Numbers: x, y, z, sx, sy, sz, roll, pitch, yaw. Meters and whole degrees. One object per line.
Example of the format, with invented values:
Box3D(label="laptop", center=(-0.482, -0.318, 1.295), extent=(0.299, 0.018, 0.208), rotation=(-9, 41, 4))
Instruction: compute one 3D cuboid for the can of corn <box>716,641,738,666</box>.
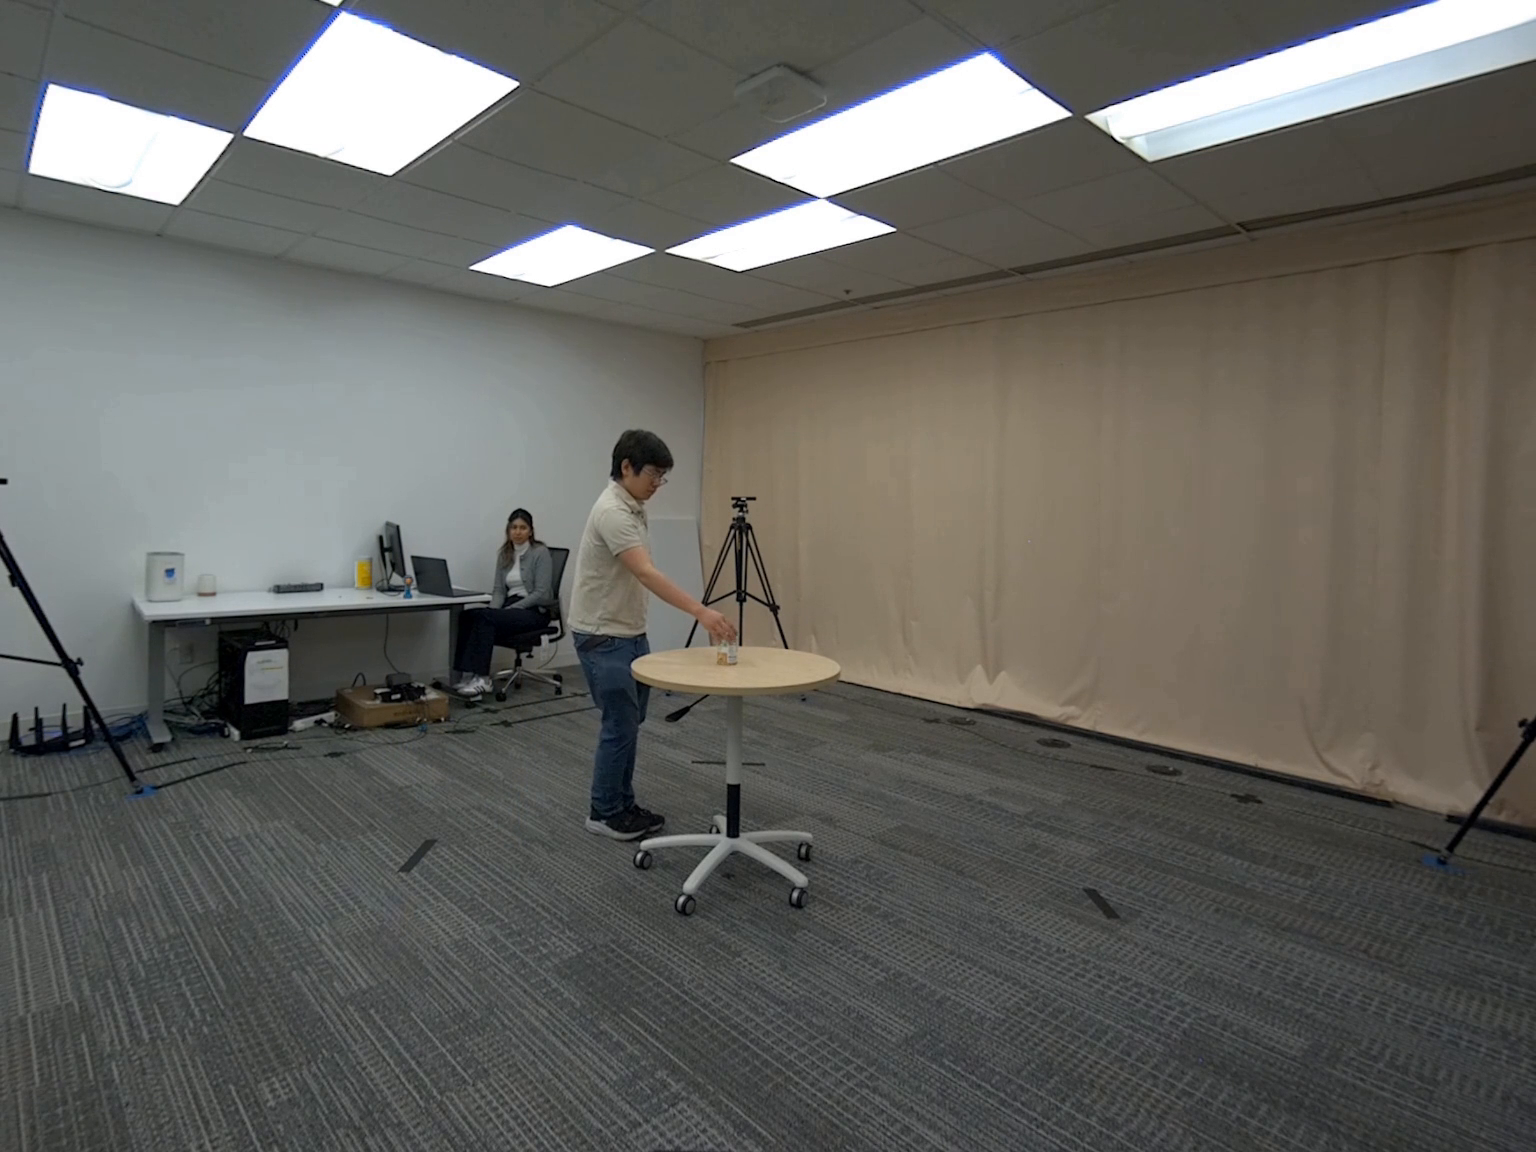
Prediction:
Box3D(label="can of corn", center=(-0.157, 0.269, 3.104), extent=(0.074, 0.111, 0.074), rotation=(-1, 2, -1))
